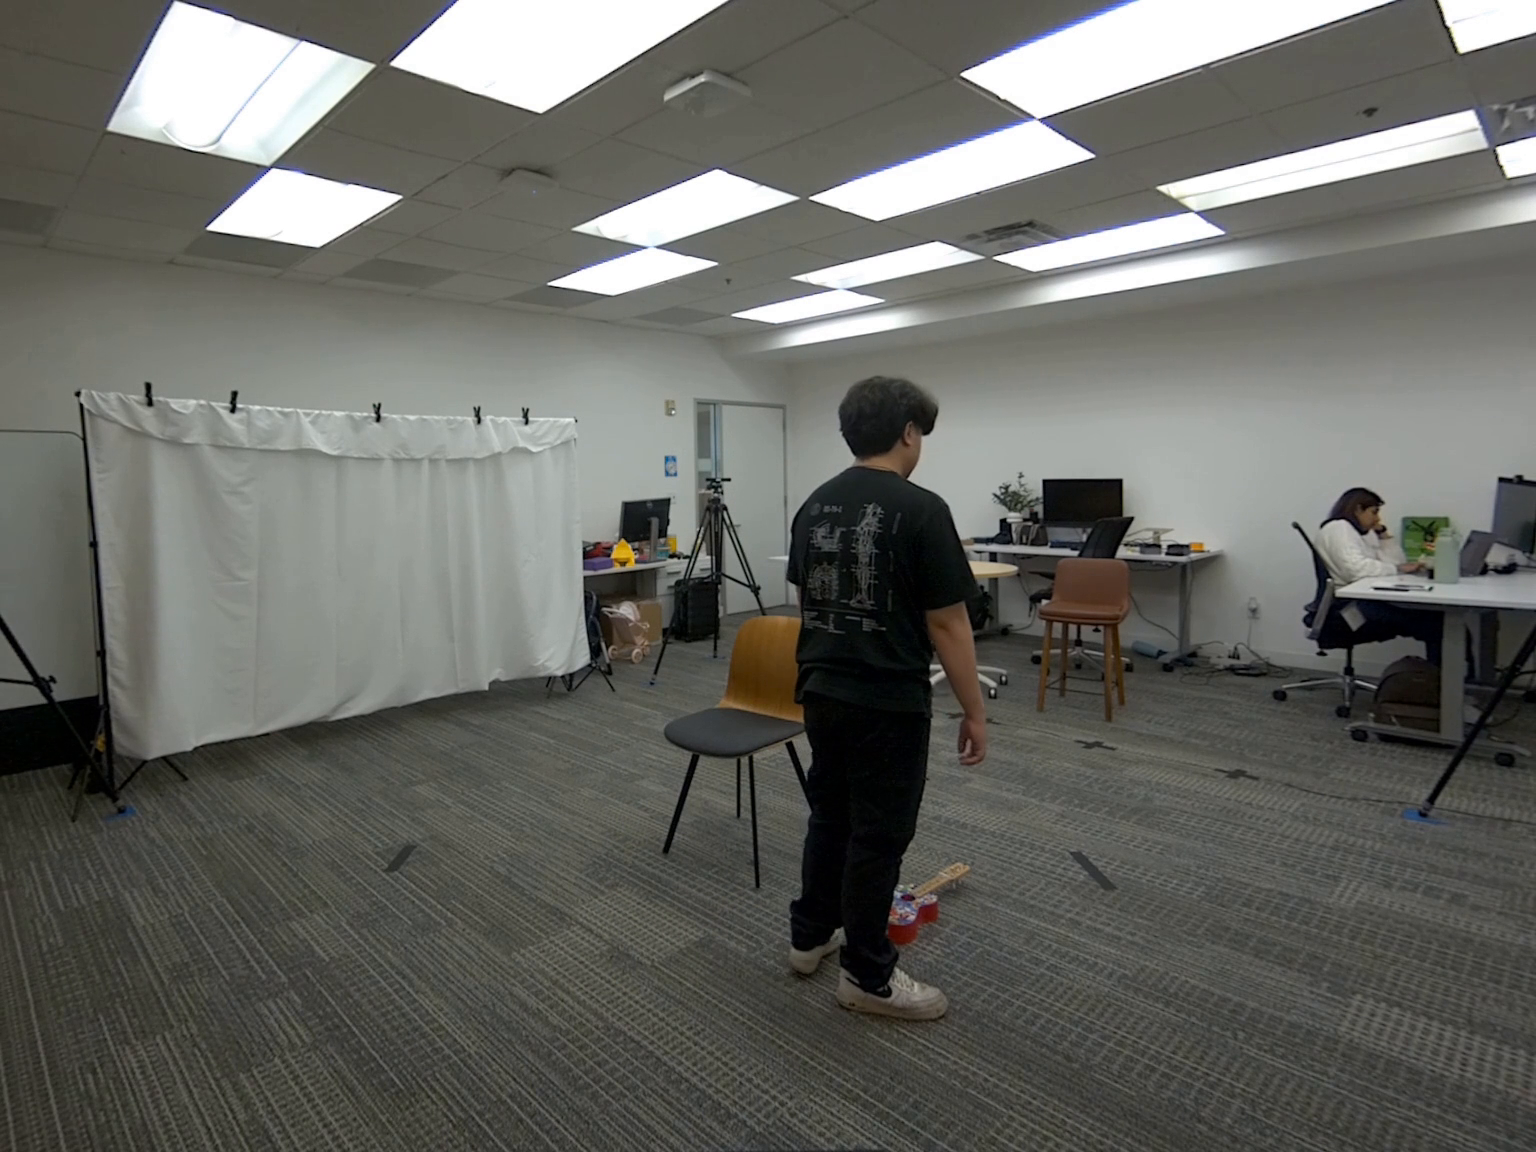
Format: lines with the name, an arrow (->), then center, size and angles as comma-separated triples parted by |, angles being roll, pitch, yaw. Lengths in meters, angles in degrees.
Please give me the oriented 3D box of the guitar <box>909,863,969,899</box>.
guitar -> 0.521, 1.043, 2.732 | 0.486, 0.070, 0.198 | -6, 7, -33
